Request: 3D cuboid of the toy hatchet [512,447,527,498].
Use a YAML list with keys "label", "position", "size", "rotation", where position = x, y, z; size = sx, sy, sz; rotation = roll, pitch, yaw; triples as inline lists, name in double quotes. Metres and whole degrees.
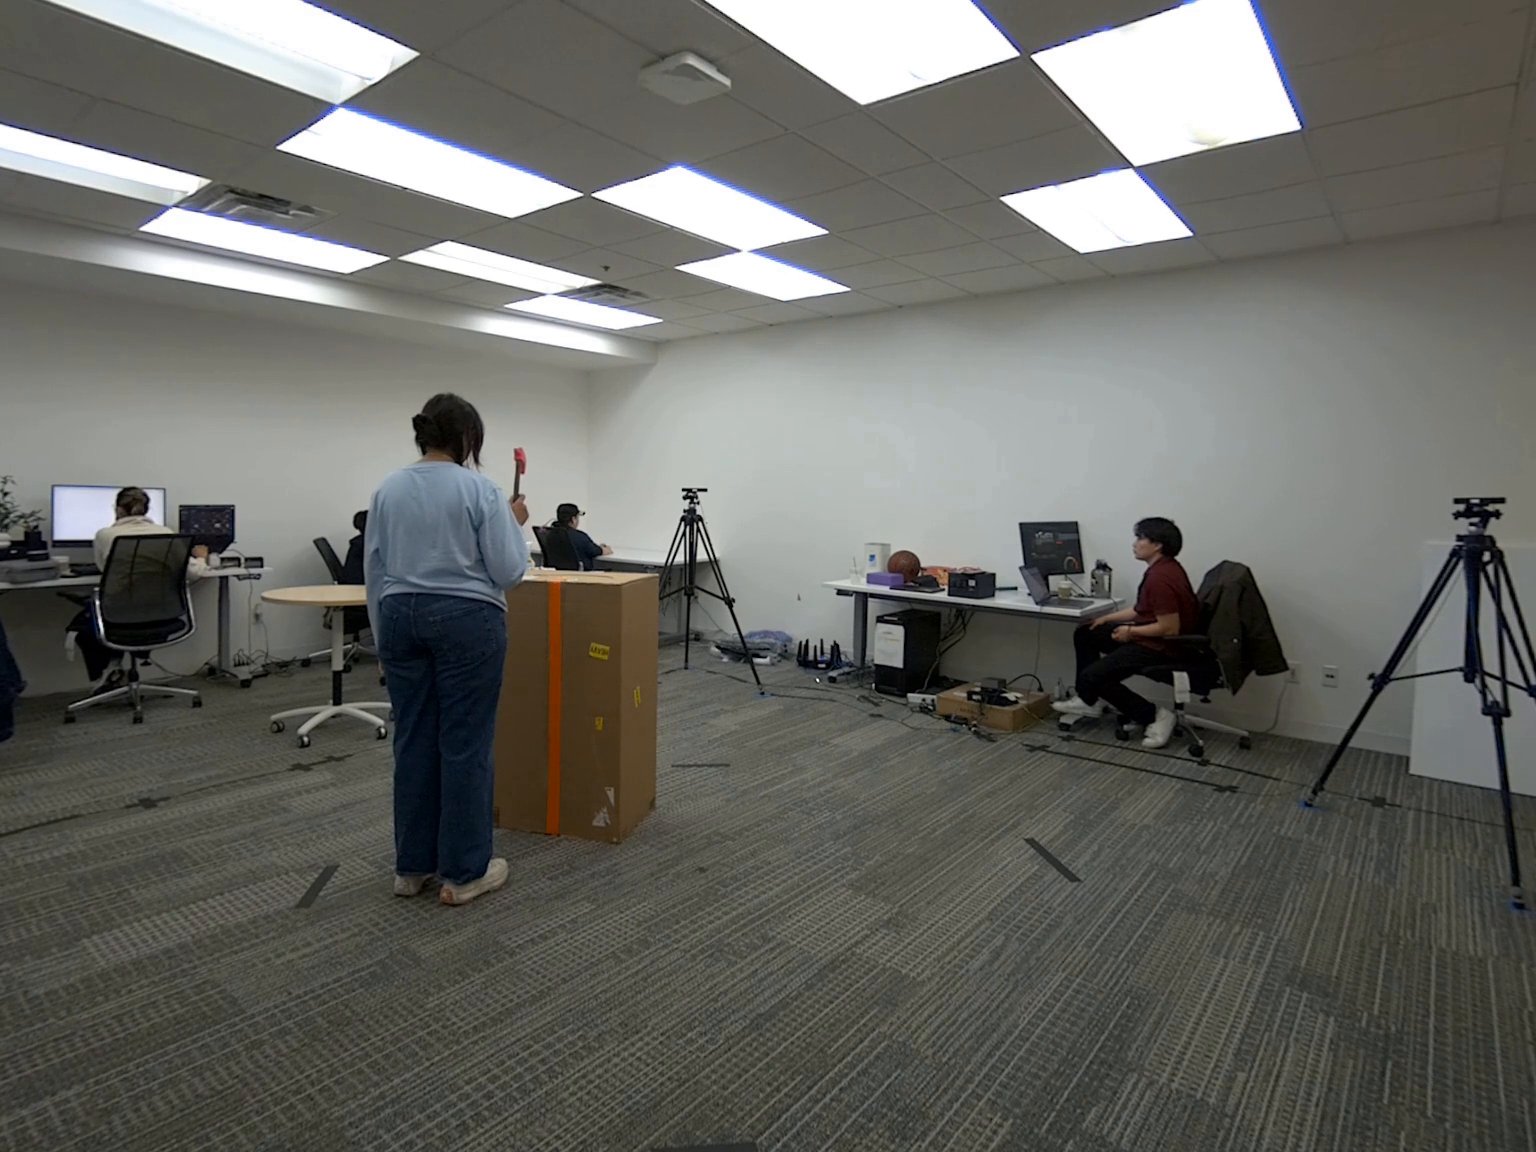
- label: "toy hatchet"
  position: [-0.926, -0.334, 3.123]
  size: [0.029, 0.270, 0.131]
  rotation: [-2, 0, -2]
